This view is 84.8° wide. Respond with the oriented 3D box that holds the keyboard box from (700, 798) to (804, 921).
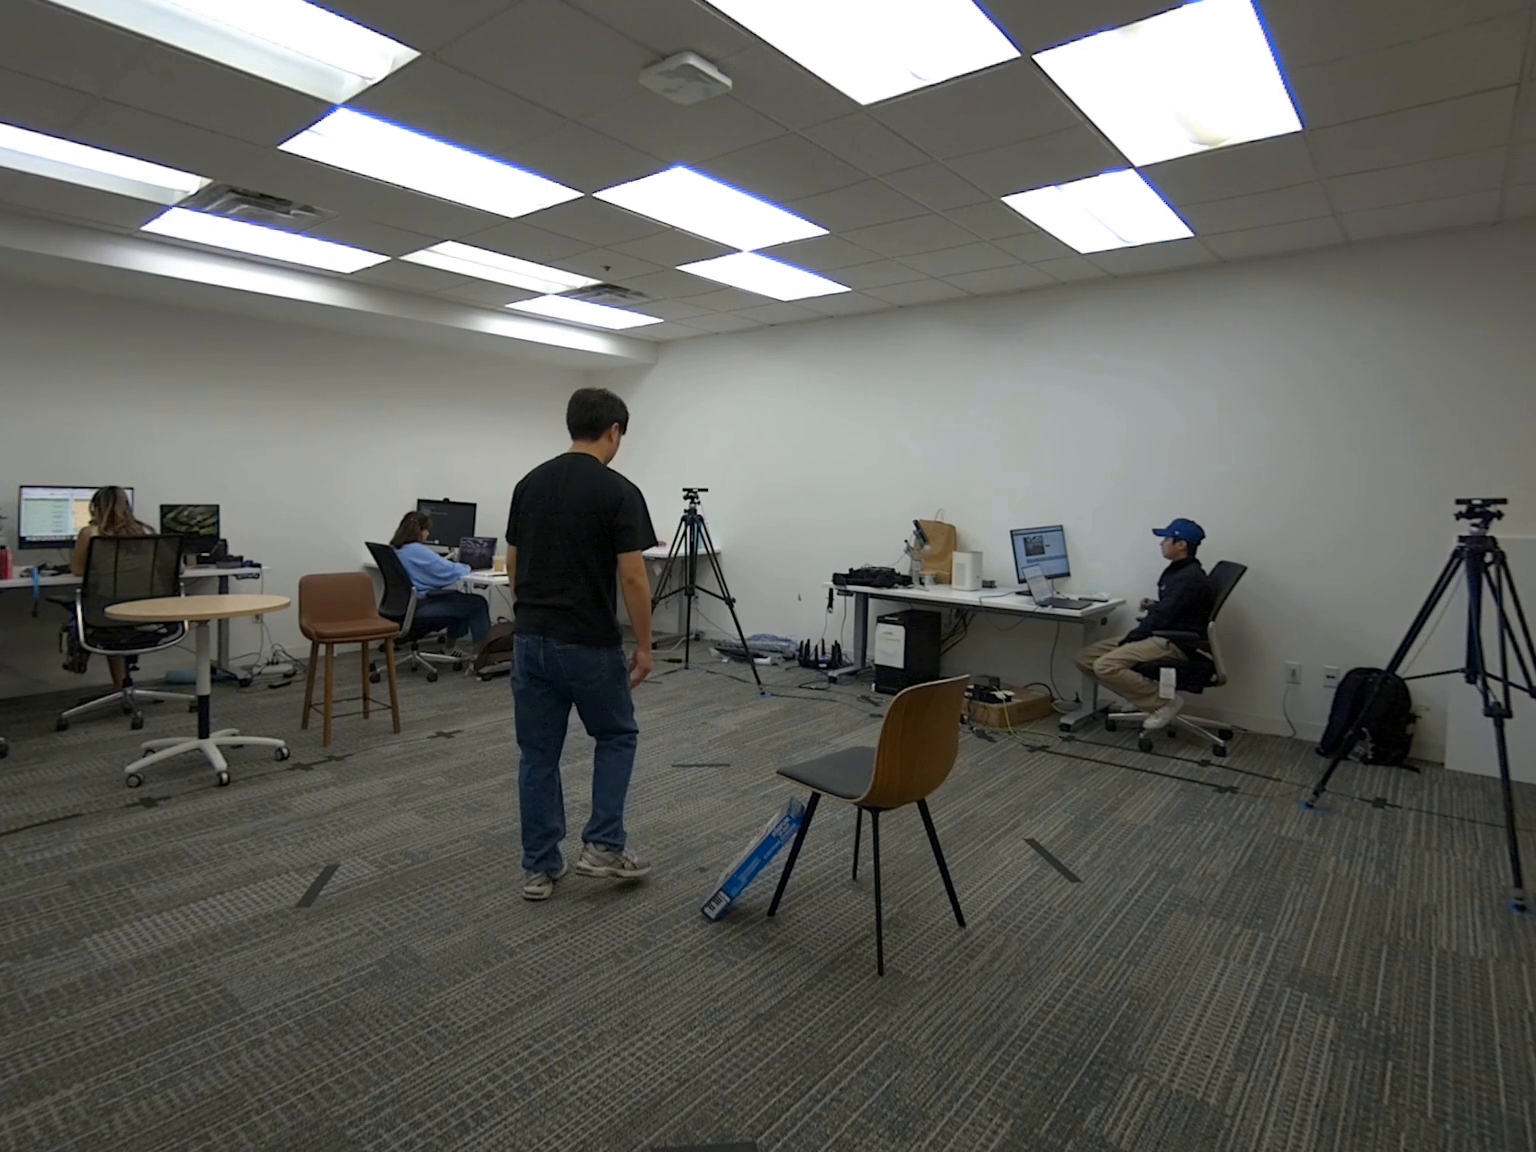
[{"bbox_3d":[-0.058,0.928,2.772,0.059,0.436,0.175,41,9,2],"label":"keyboard box"}]
